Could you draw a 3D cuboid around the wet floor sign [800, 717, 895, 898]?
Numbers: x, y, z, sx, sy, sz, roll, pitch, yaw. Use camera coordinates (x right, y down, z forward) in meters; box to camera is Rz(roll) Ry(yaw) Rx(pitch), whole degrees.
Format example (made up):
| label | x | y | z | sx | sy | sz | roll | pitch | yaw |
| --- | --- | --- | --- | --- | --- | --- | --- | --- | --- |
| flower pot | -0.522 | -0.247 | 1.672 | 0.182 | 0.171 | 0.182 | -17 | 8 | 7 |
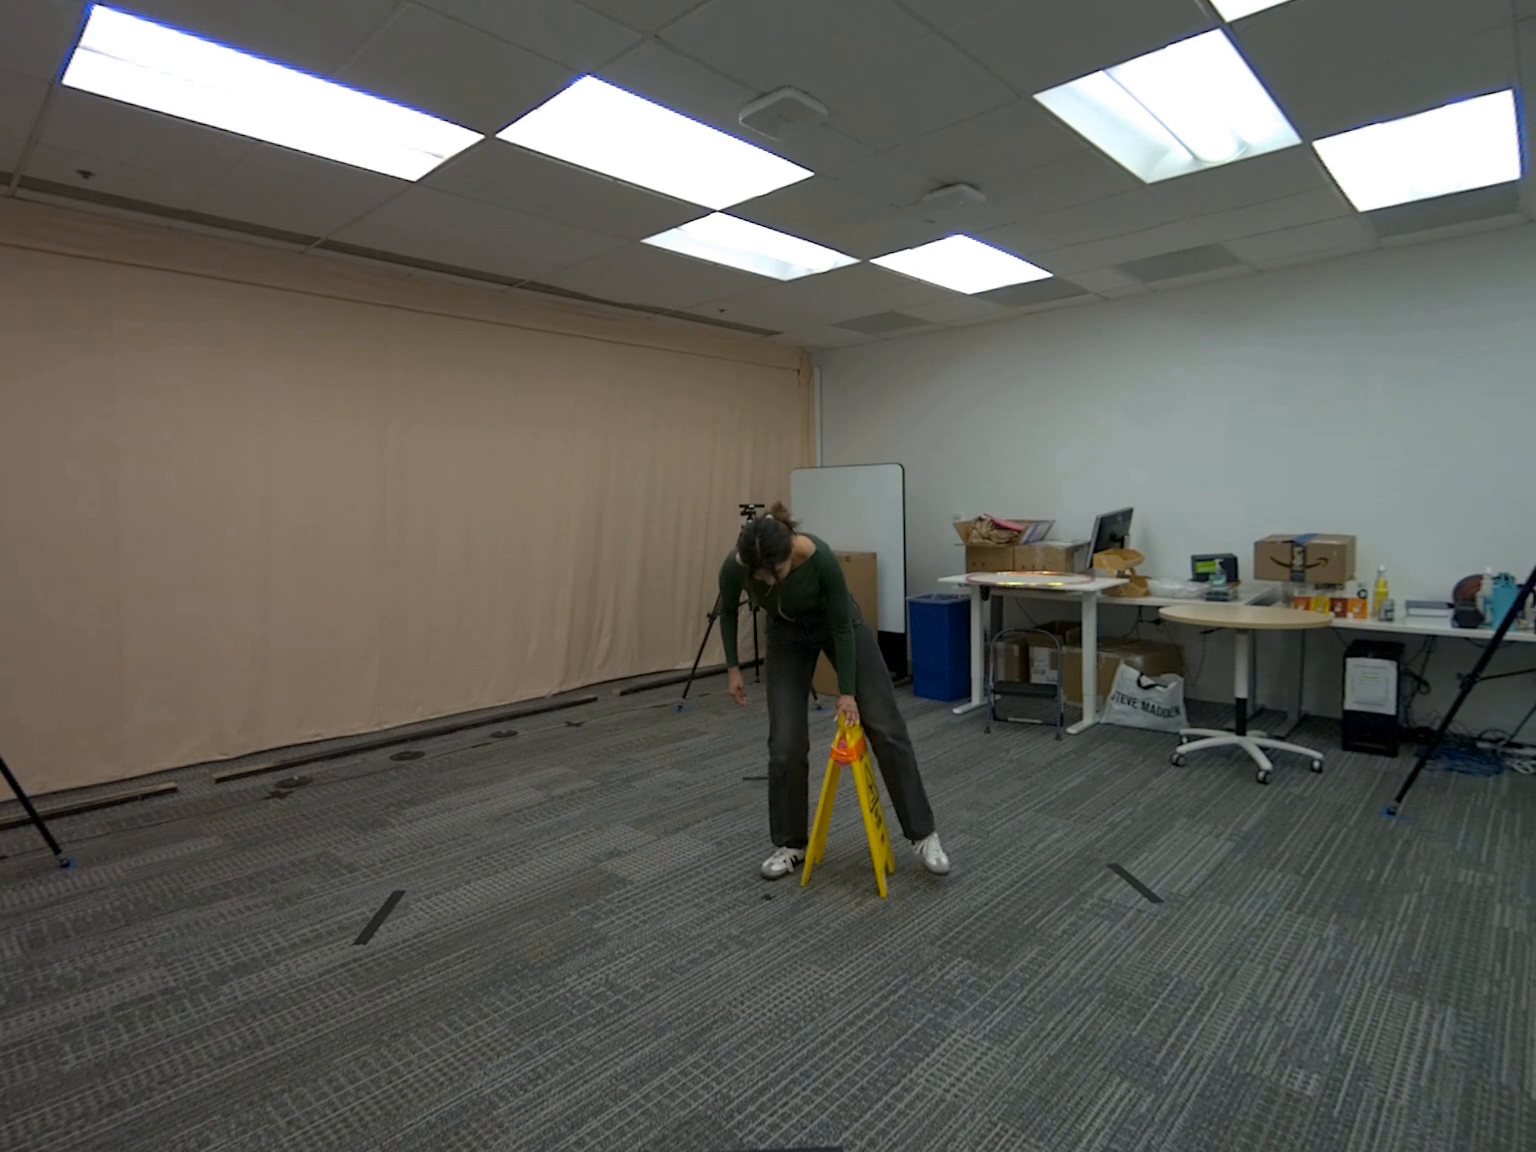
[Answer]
| label | x | y | z | sx | sy | sz | roll | pitch | yaw |
| --- | --- | --- | --- | --- | --- | --- | --- | --- | --- |
| wet floor sign | 0.300 | 0.798 | 3.113 | 0.296 | 0.645 | 0.277 | 0 | 3 | 19 |
